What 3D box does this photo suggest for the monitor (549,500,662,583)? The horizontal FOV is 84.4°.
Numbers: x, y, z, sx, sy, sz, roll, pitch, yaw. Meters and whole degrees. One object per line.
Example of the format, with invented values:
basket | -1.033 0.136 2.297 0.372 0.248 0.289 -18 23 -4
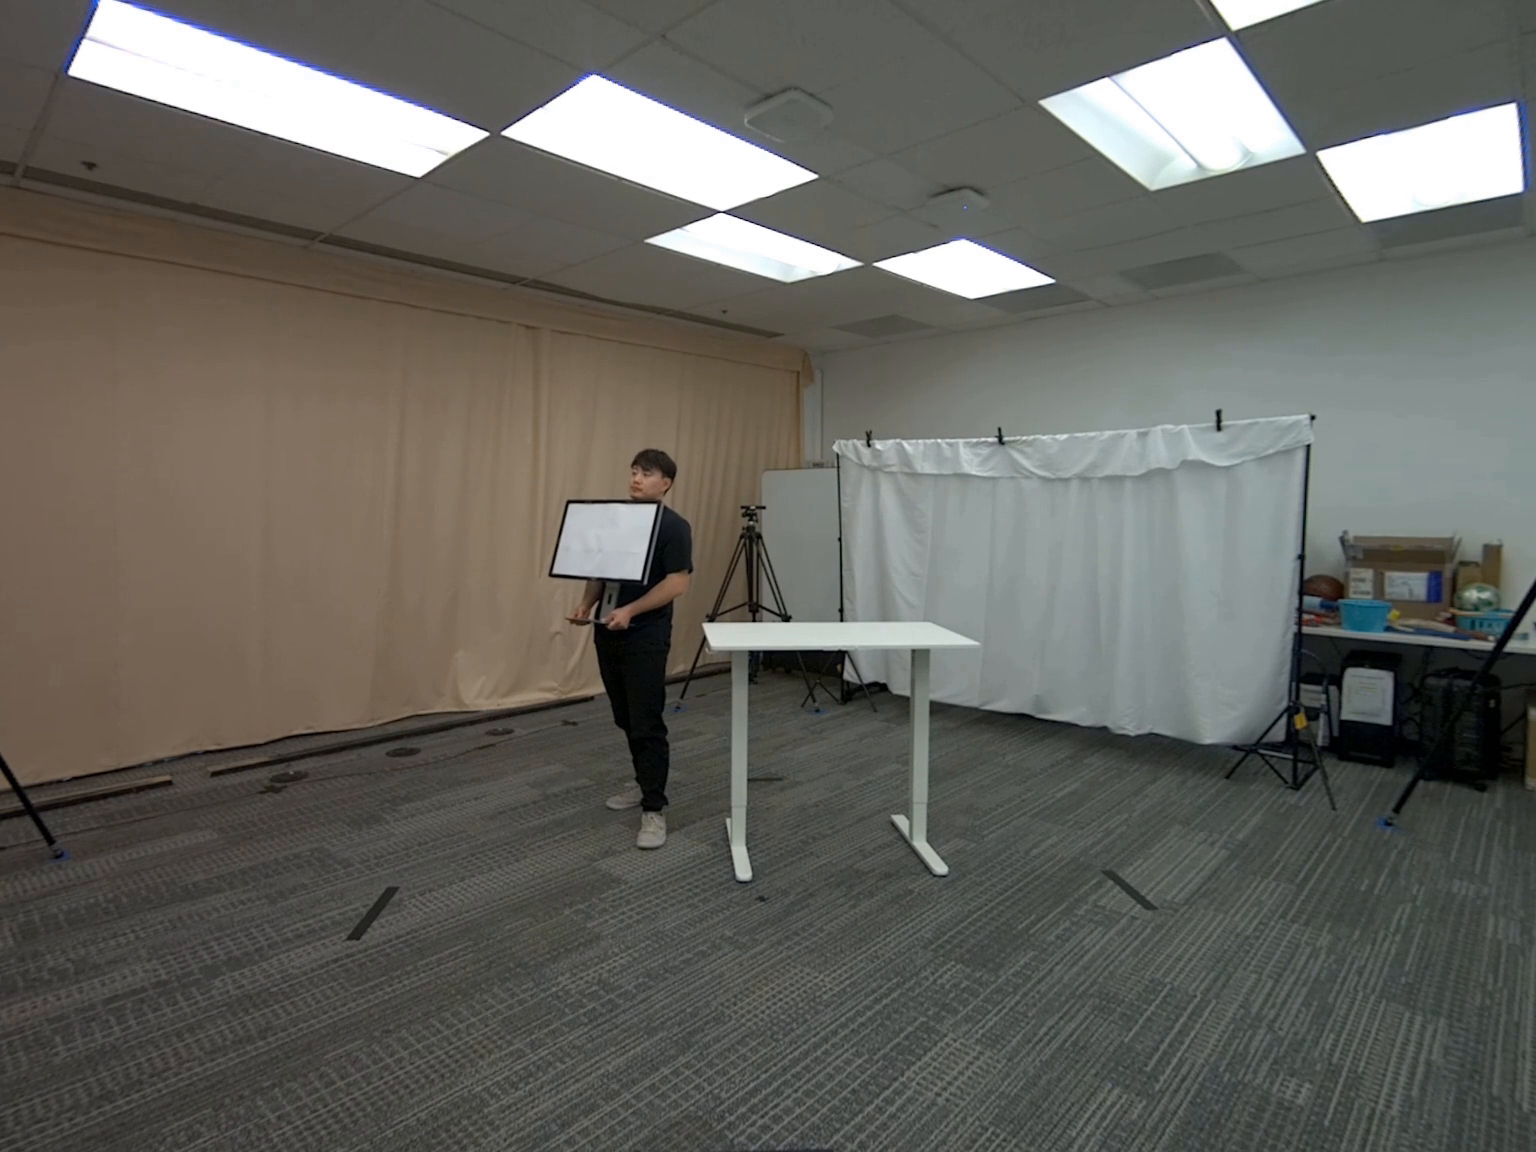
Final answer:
monitor | -0.686 -0.066 3.638 0.555 0.523 0.181 2 -3 33
